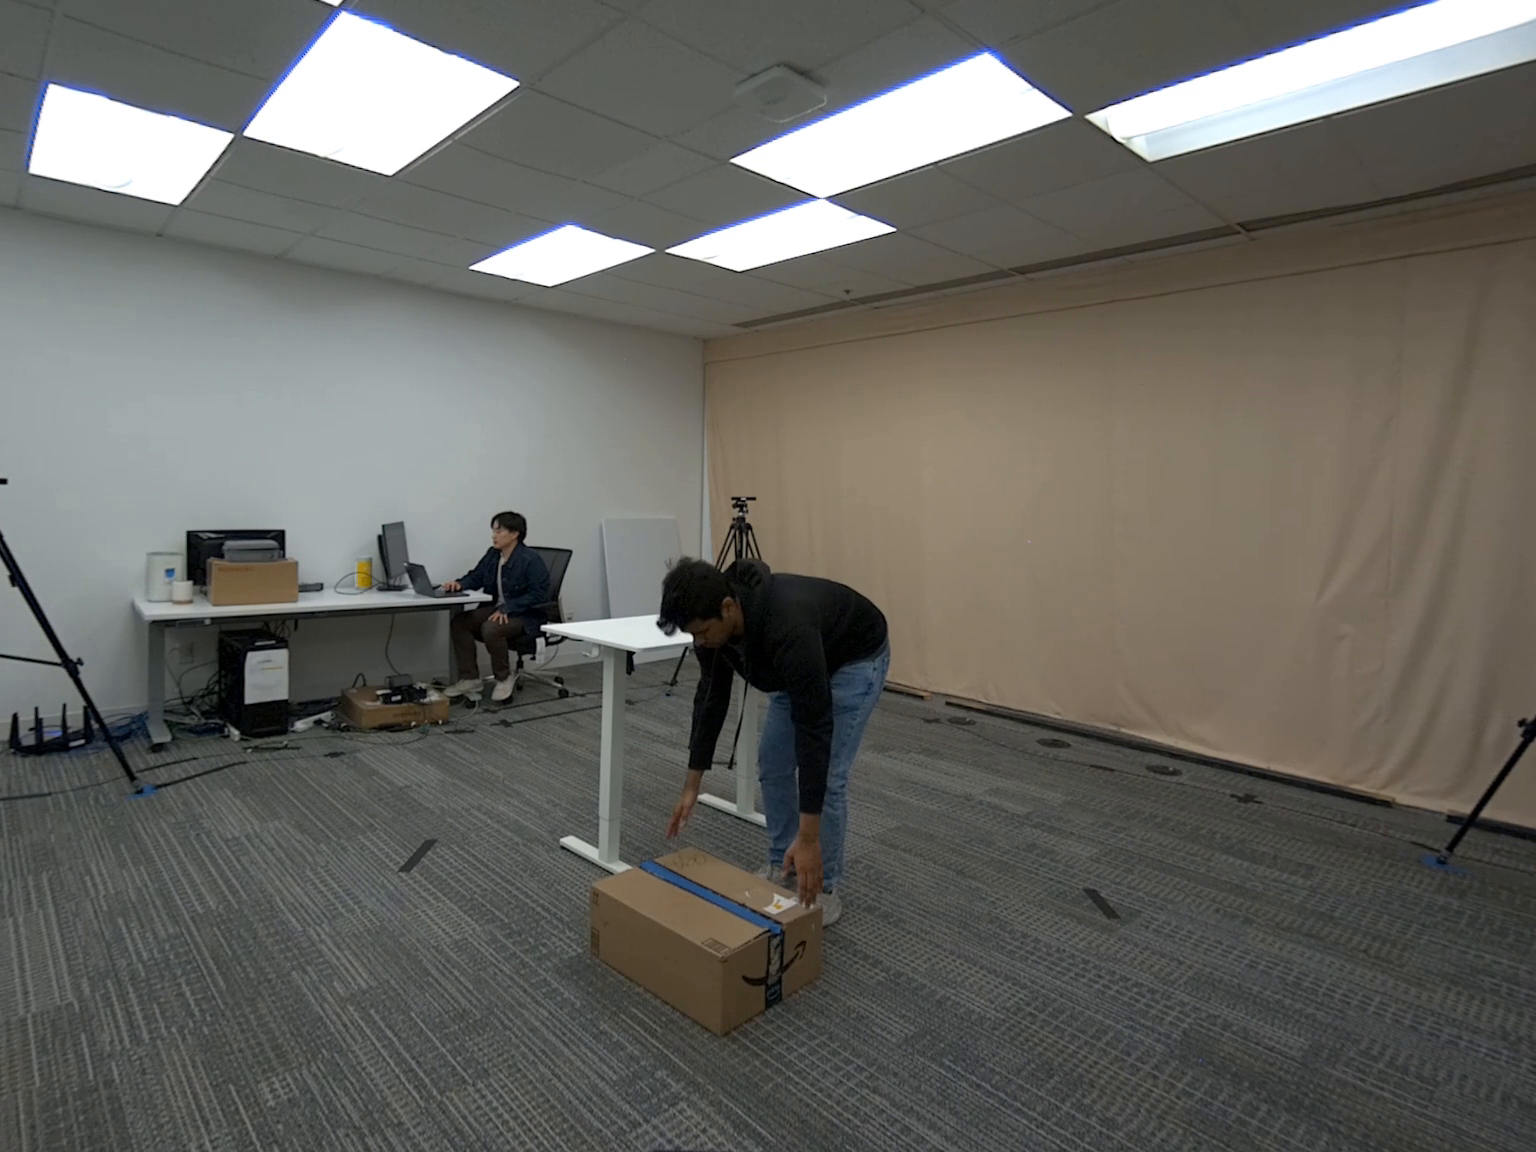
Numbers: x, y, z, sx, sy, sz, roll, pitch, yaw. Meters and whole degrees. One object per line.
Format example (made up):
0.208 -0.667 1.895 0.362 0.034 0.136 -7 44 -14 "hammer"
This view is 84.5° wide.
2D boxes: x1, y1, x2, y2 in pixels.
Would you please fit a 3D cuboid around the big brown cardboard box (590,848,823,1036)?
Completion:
-0.198 1.053 2.495 0.604 0.232 0.408 5 5 42 "big brown cardboard box"
